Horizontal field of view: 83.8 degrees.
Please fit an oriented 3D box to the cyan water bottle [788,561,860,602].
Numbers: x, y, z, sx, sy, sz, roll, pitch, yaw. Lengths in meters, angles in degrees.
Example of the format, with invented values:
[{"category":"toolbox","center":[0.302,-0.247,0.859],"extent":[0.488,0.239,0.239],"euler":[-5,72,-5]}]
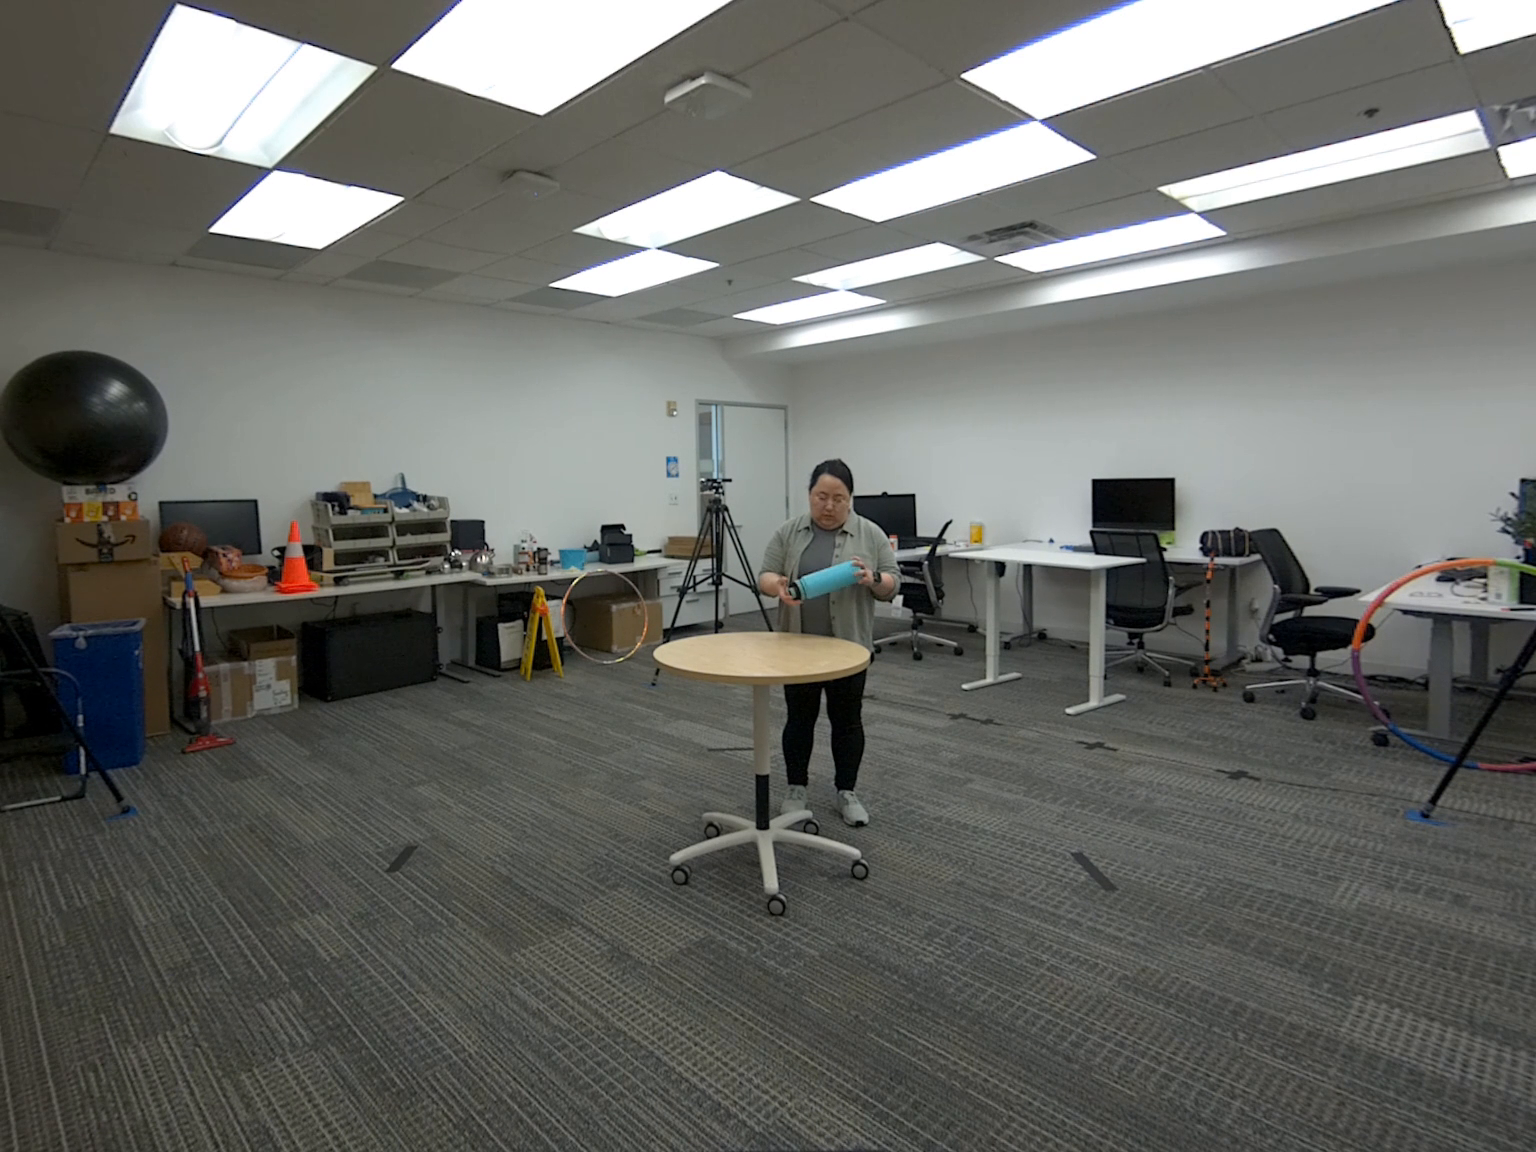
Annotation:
[{"category":"cyan water bottle","center":[0.211,0.029,3.265],"extent":[0.281,0.091,0.094],"euler":[-15,8,-14]}]
